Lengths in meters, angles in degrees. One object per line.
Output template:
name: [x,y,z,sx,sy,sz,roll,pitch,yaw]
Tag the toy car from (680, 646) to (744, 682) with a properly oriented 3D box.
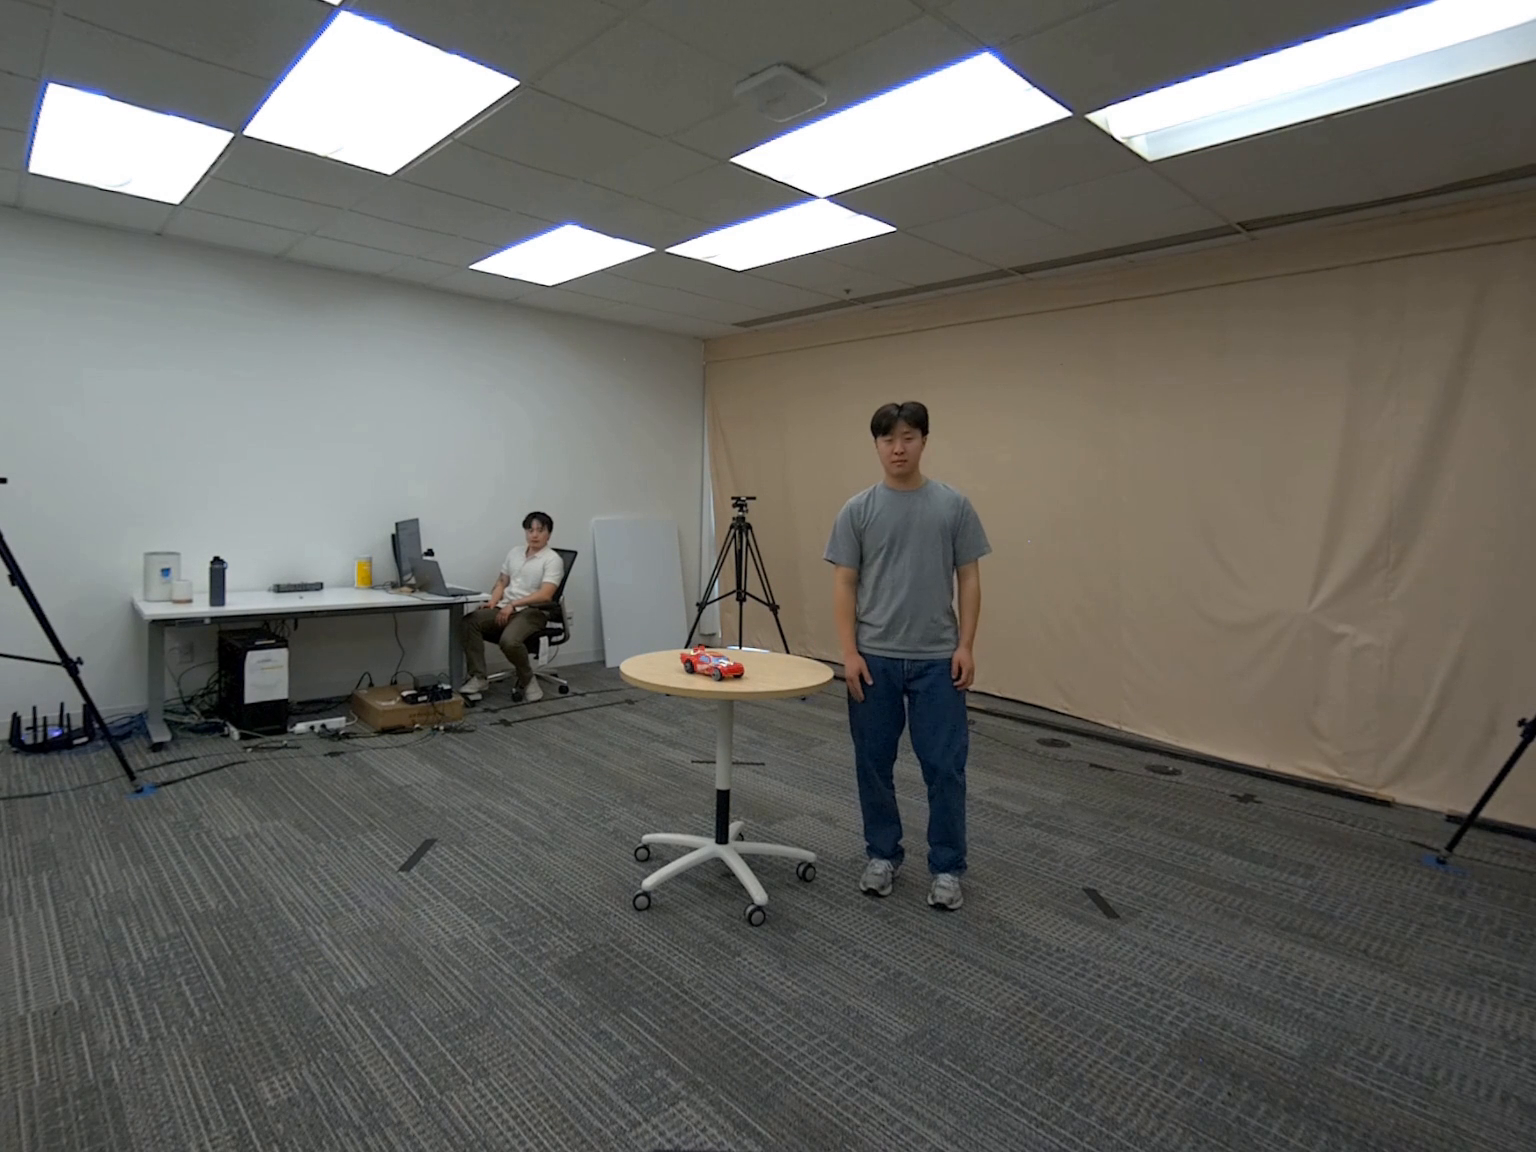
toy car: [-0.205,0.308,2.893,0.127,0.082,0.262,-2,17,-42]
